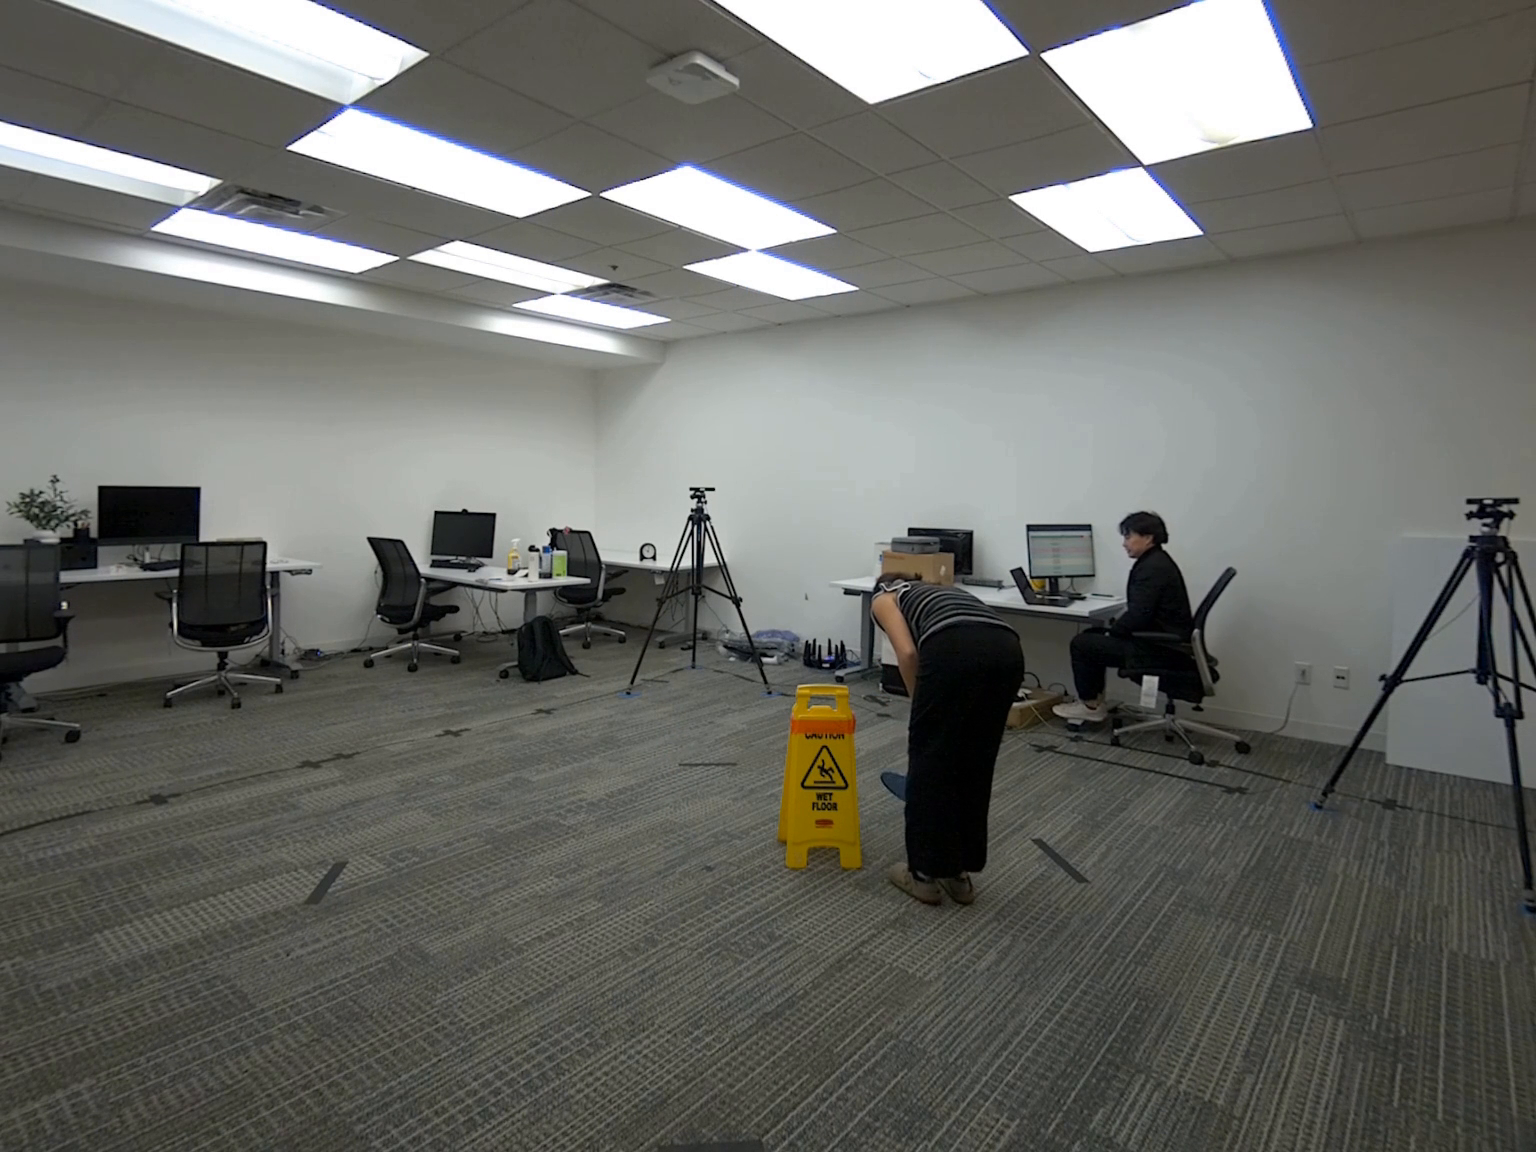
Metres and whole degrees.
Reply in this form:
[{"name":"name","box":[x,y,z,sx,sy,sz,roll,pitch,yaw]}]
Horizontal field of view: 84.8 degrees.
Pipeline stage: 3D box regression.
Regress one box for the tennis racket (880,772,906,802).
[{"name":"tennis racket","box":[0.583,0.851,3.282,0.032,0.211,0.439,-46,12,-26]}]
